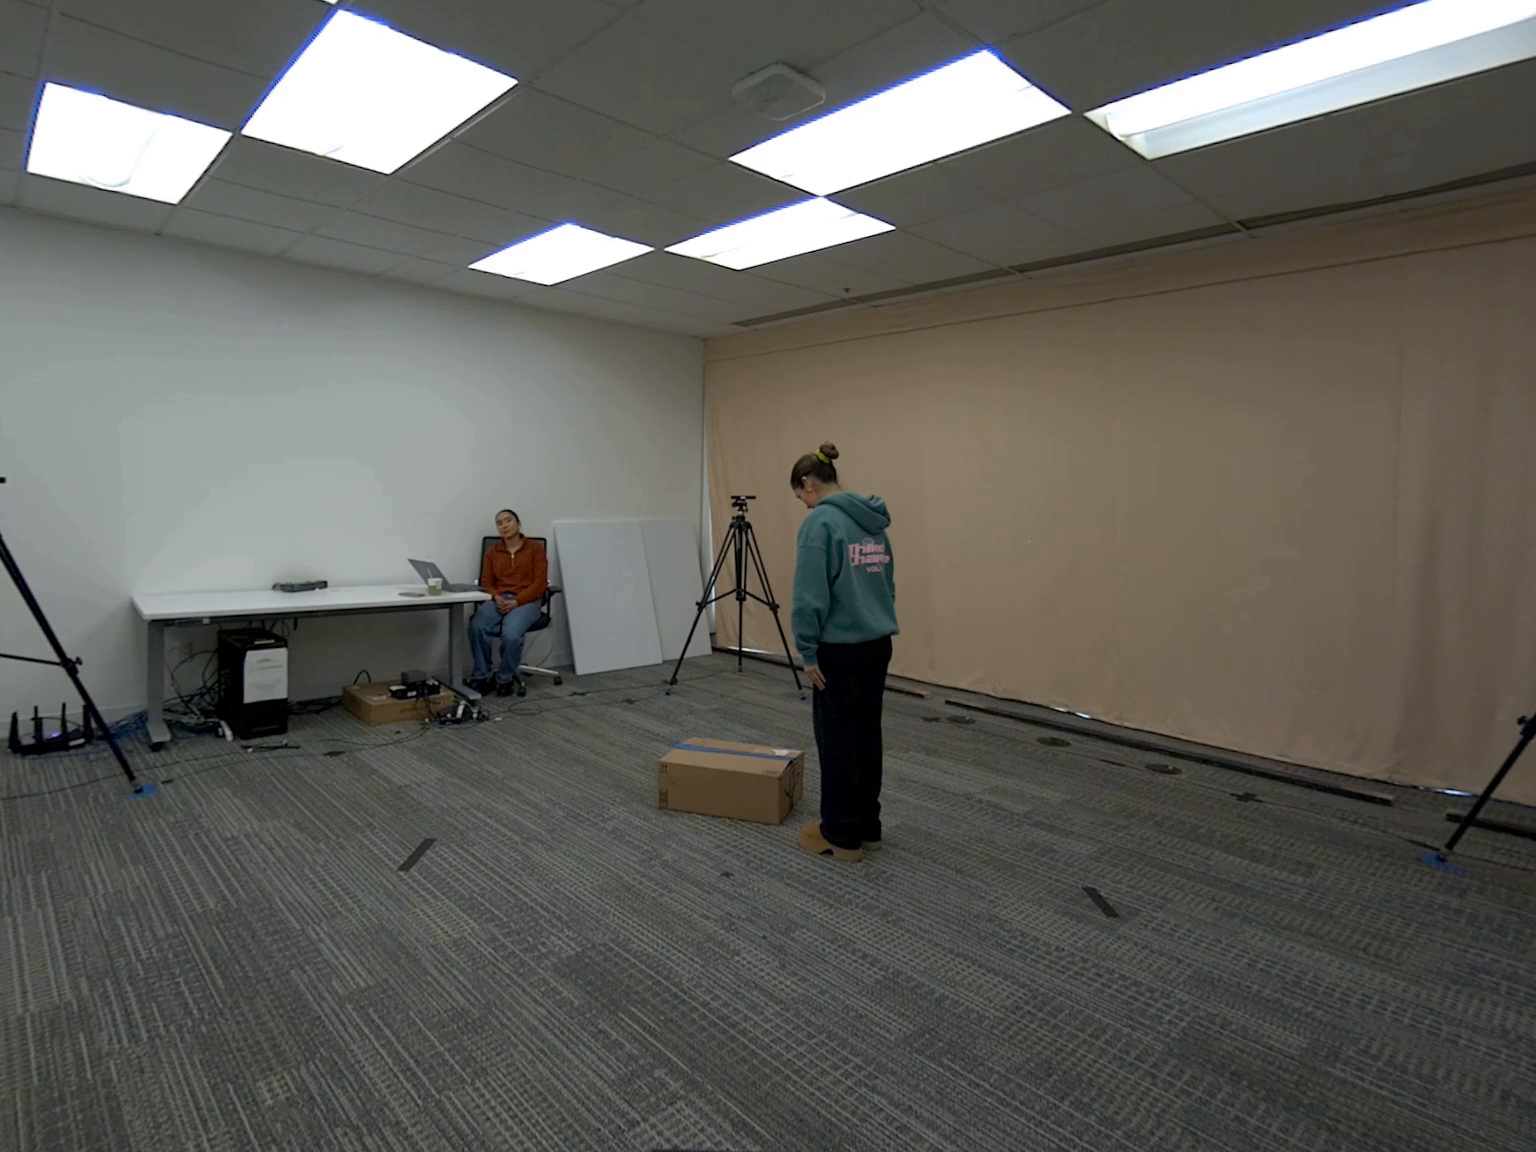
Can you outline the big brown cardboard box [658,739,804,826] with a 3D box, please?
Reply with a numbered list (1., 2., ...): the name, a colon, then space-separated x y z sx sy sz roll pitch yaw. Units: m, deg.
1. big brown cardboard box: -0.167 0.920 3.853 0.597 0.232 0.413 2 5 17
